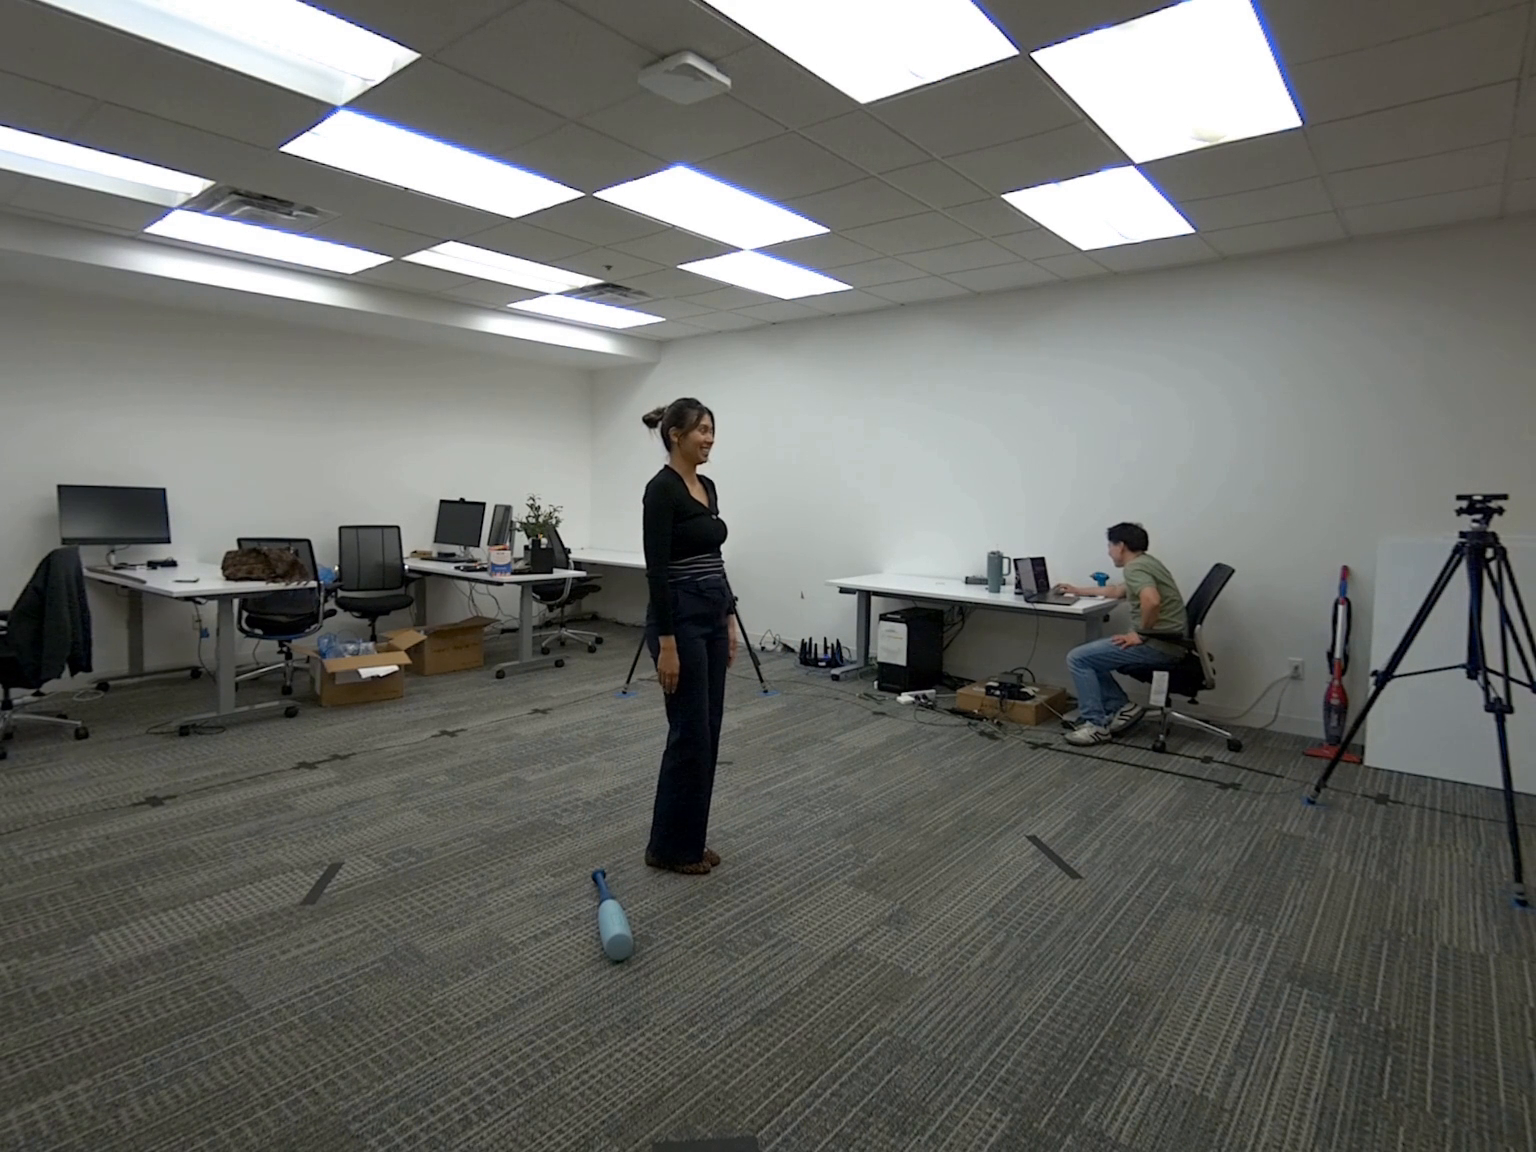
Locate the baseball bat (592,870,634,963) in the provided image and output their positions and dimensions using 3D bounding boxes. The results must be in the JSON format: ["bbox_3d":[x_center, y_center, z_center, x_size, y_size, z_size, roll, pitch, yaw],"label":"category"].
[{"bbox_3d":[-0.519,1.066,2.720,0.087,0.089,0.553,-1,3,-17],"label":"baseball bat"}]
